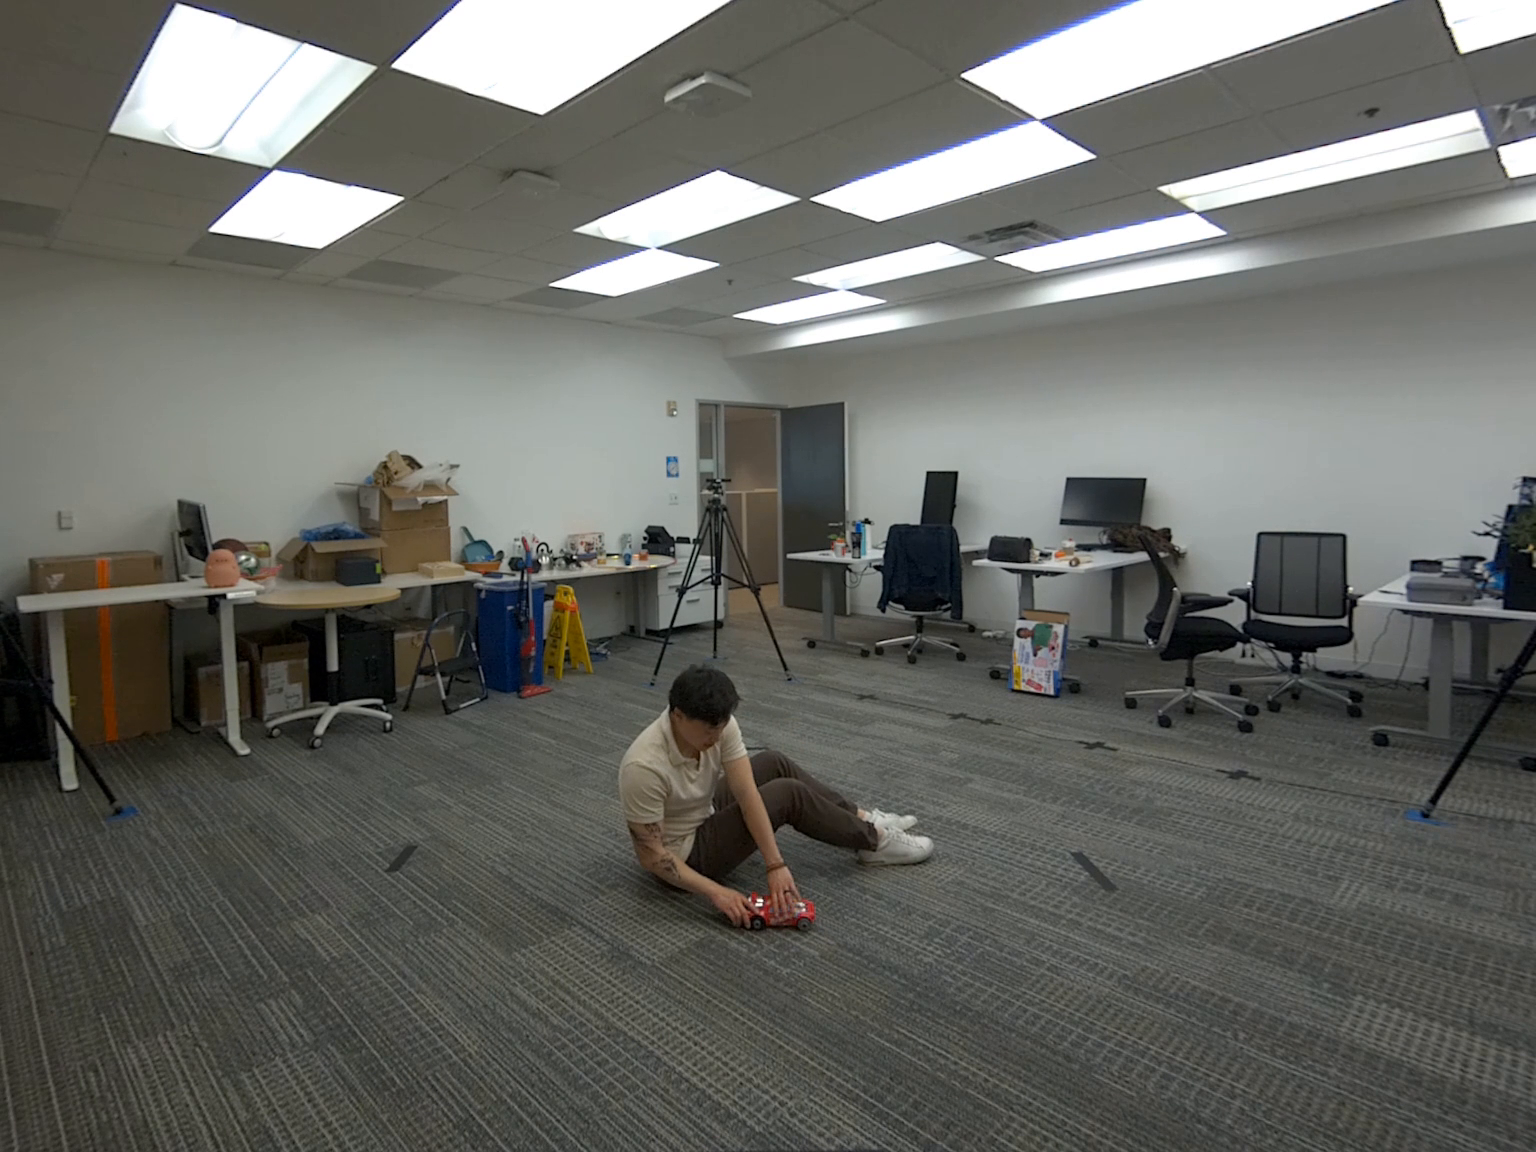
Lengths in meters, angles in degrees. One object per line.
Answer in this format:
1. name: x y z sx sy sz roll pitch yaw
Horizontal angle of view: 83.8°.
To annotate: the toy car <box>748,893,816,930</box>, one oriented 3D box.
1. toy car: 0.012 1.060 2.696 0.256 0.083 0.130 8 8 4
